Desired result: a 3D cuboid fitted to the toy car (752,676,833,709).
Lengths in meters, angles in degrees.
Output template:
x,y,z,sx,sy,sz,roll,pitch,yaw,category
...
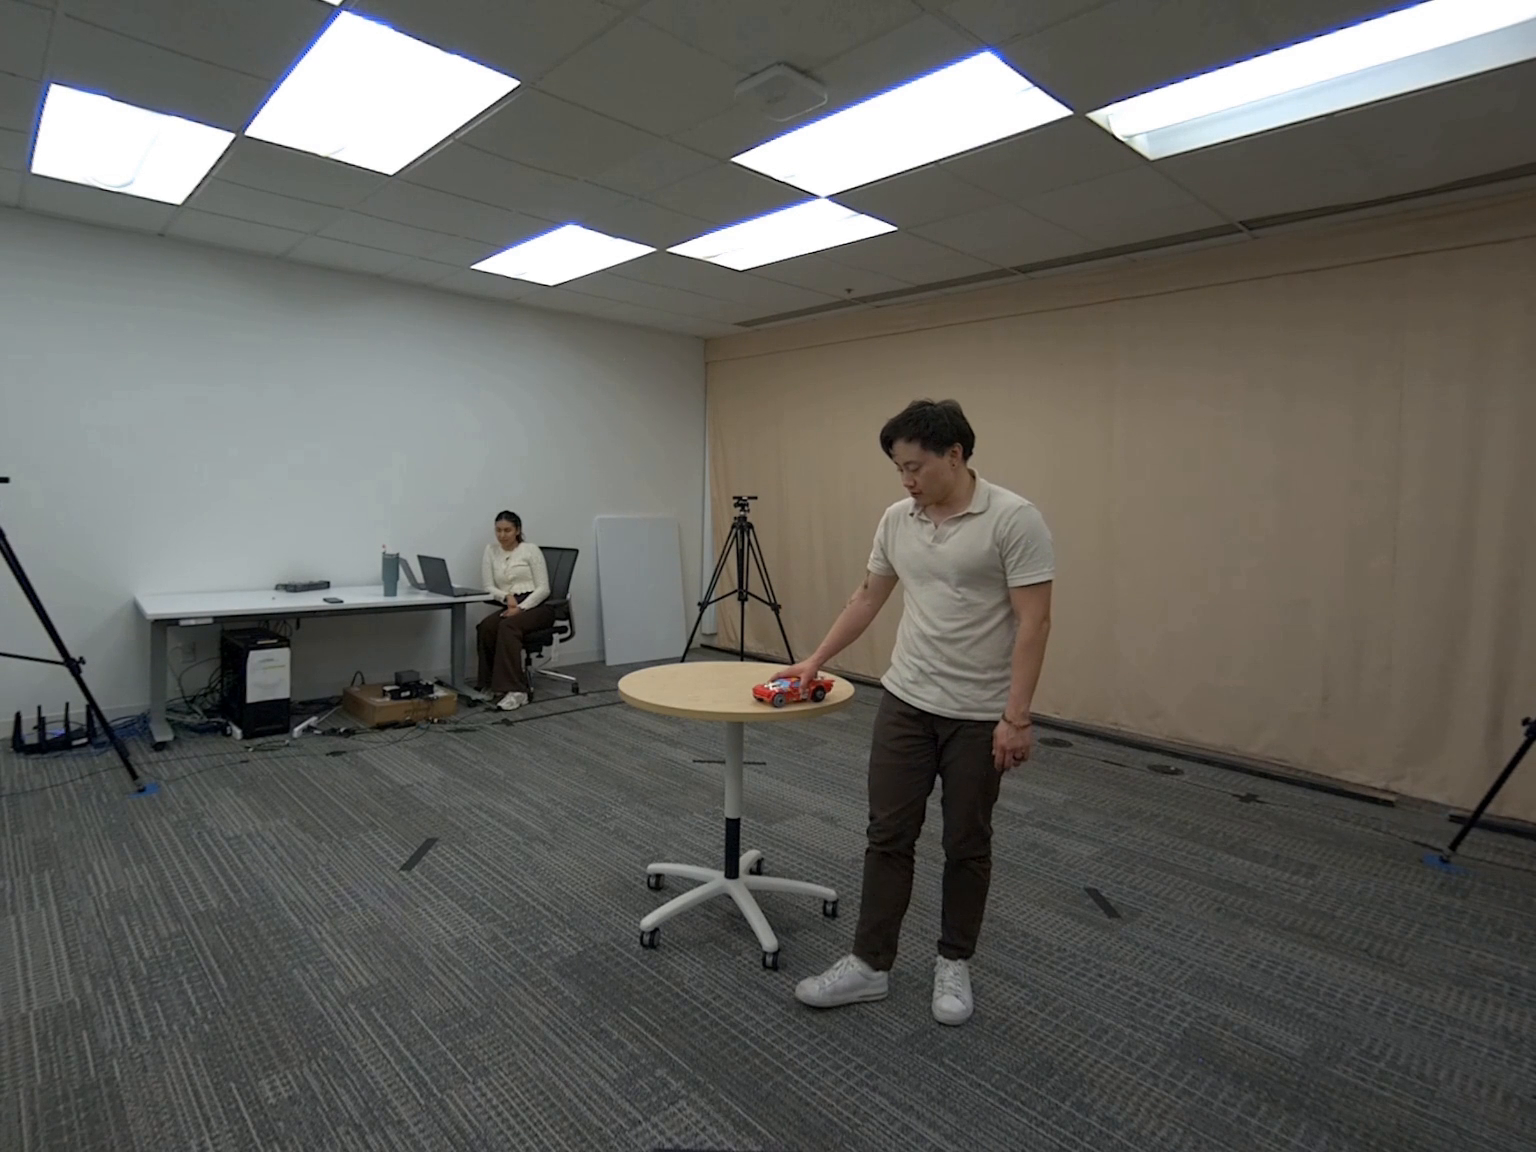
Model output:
x,y,z,sx,sy,sz,roll,pitch,yaw,category
0.074,0.346,2.518,0.251,0.082,0.133,-16,11,-30,toy car
